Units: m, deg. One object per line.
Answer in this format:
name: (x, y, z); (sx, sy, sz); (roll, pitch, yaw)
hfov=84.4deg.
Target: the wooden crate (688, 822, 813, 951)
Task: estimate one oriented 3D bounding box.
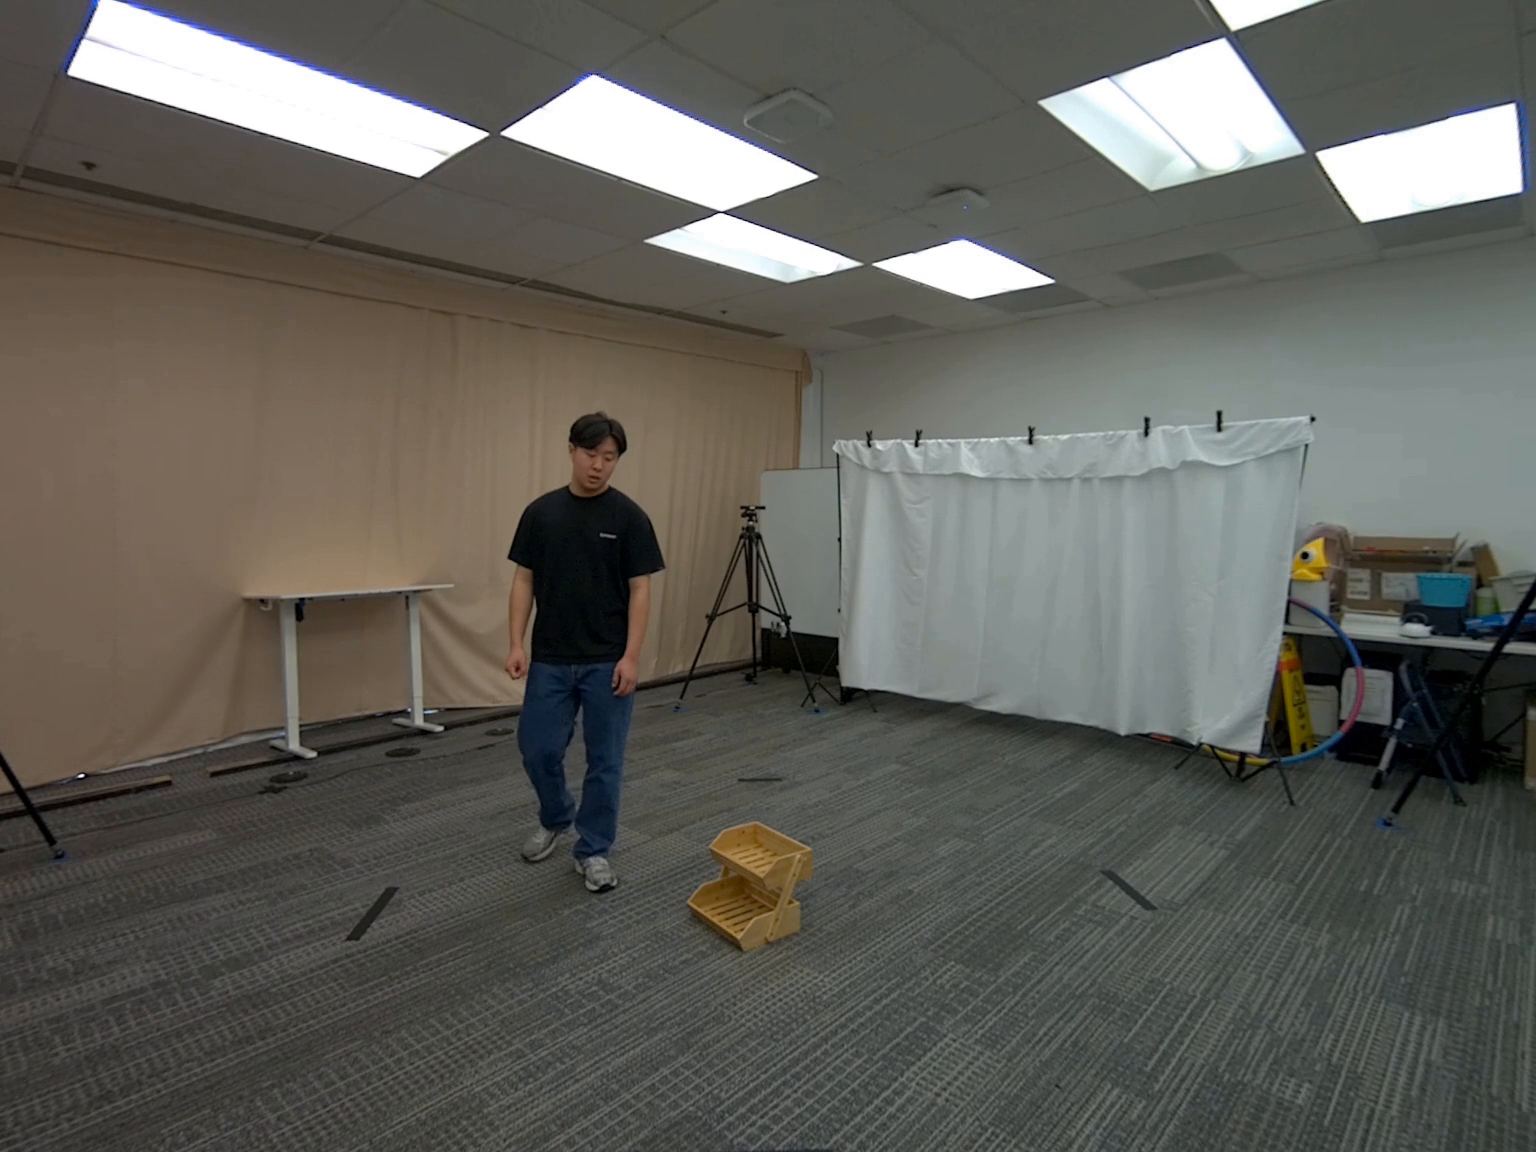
wooden crate: (-0.064, 1.025, 2.817); (0.293, 0.273, 0.335); (-2, 4, -38)
